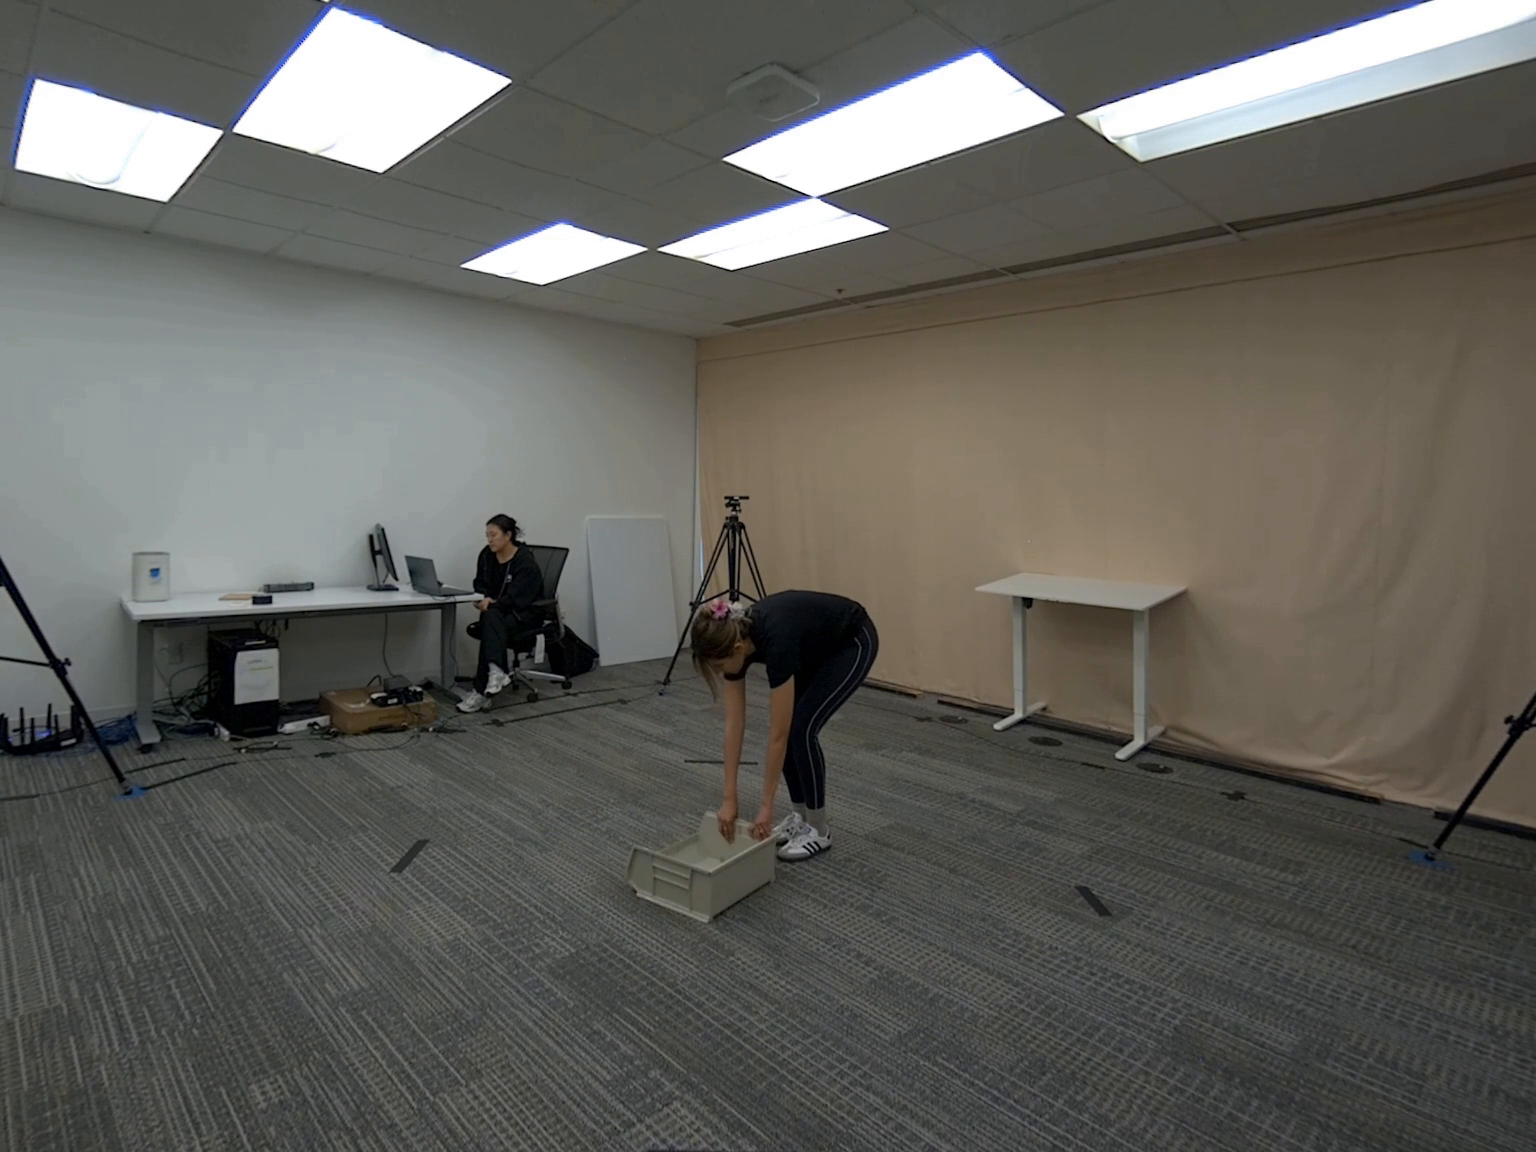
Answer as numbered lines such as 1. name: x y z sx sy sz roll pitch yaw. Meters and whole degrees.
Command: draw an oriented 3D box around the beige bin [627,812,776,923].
1. beige bin: -0.235 1.022 3.003 0.386 0.188 0.413 6 6 35
